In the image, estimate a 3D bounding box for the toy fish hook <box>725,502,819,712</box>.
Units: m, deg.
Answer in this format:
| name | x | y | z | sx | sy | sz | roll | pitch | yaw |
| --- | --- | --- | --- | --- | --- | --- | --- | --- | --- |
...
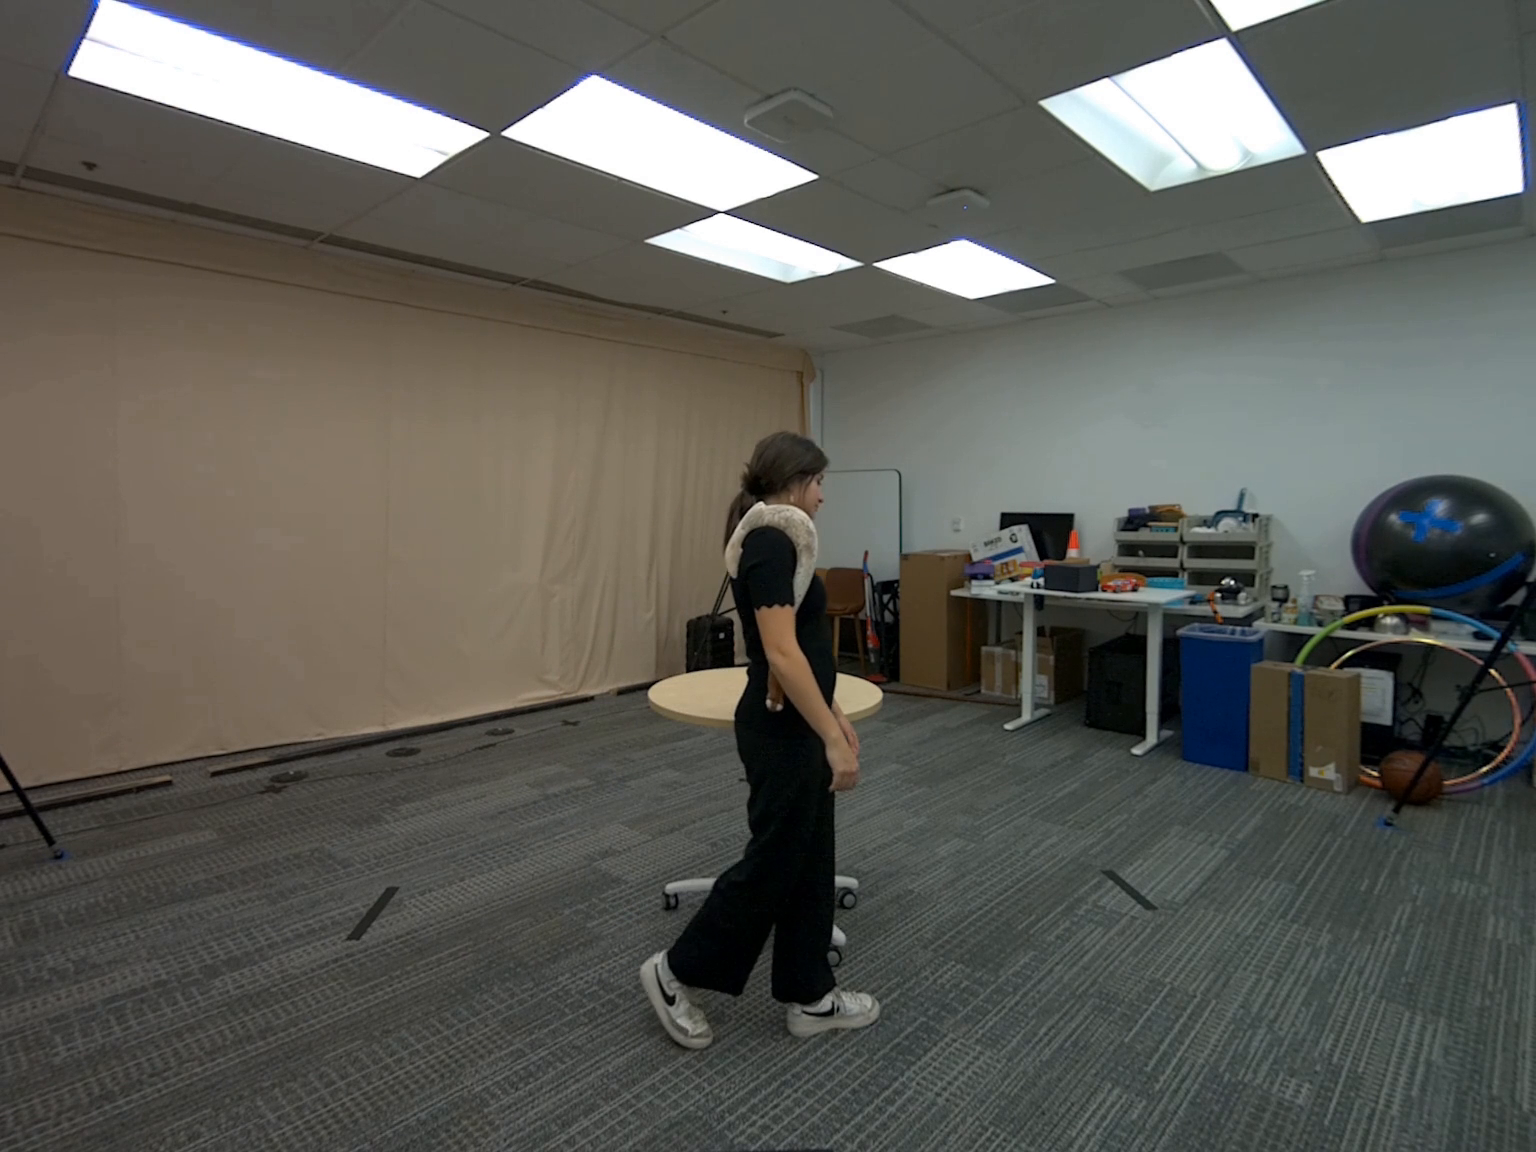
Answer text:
| name | x | y | z | sx | sy | sz | roll | pitch | yaw |
| --- | --- | --- | --- | --- | --- | --- | --- | --- | --- |
| toy fish hook | 0.000 | 0.074 | 2.068 | 0.227 | 0.508 | 0.048 | 6 | -6 | 8 |
